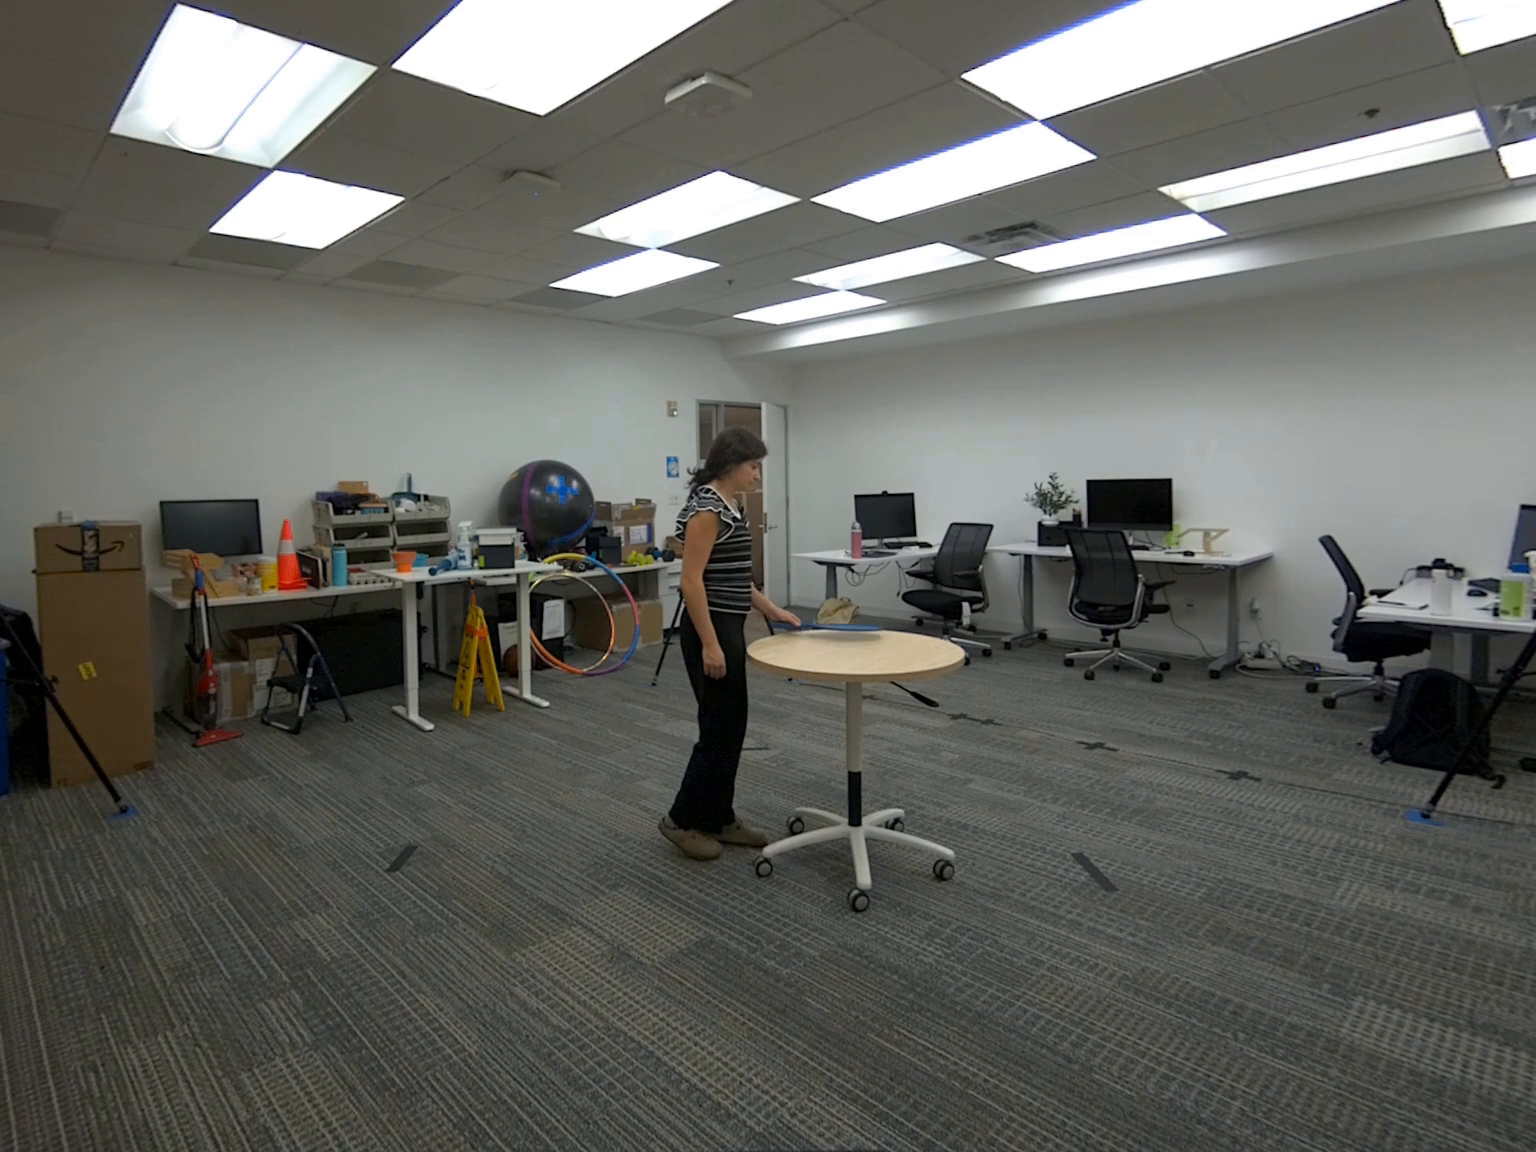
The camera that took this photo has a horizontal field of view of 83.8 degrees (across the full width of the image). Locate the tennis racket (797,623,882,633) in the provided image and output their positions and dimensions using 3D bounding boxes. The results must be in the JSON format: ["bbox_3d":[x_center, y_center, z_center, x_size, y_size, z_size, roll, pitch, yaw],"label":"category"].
[{"bbox_3d":[0.227,0.200,3.295,0.435,0.032,0.213,0,2,5],"label":"tennis racket"}]
